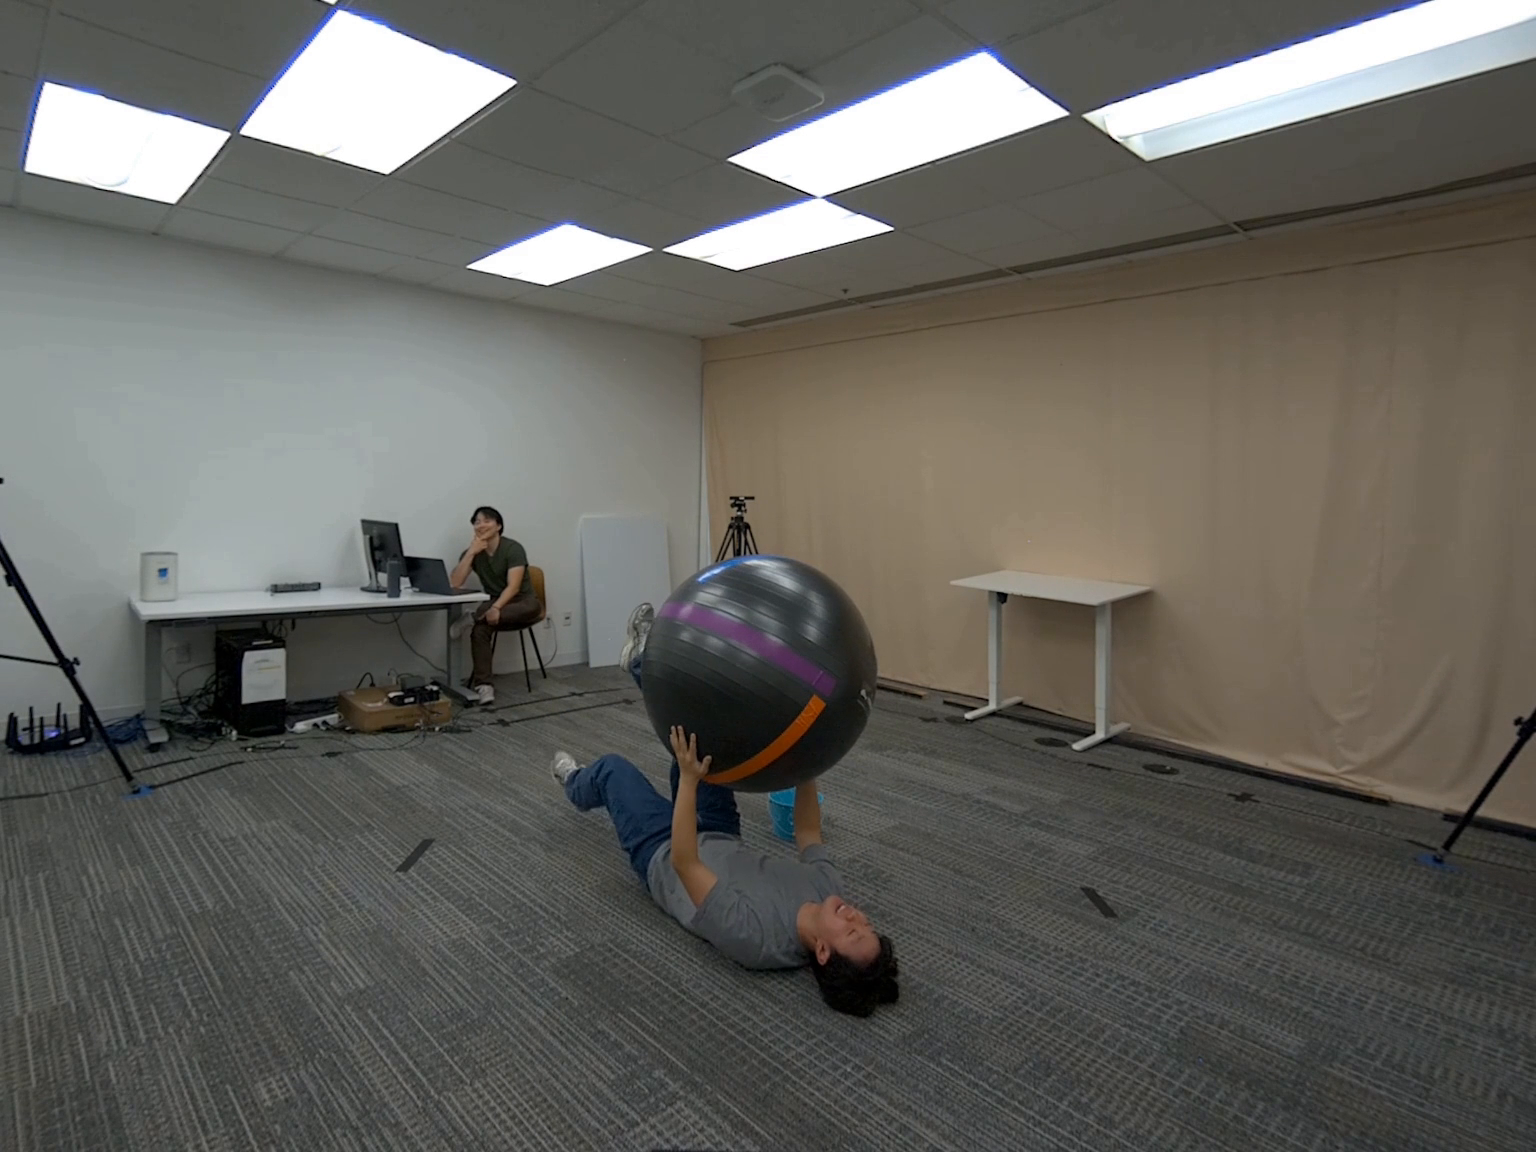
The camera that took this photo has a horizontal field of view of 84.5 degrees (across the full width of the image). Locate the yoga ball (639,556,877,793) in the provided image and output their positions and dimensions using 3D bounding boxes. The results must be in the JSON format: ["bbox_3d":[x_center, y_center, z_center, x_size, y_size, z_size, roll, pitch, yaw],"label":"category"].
[{"bbox_3d":[-0.030,0.315,2.725,0.757,0.756,0.761,1,4,-1],"label":"yoga ball"}]
